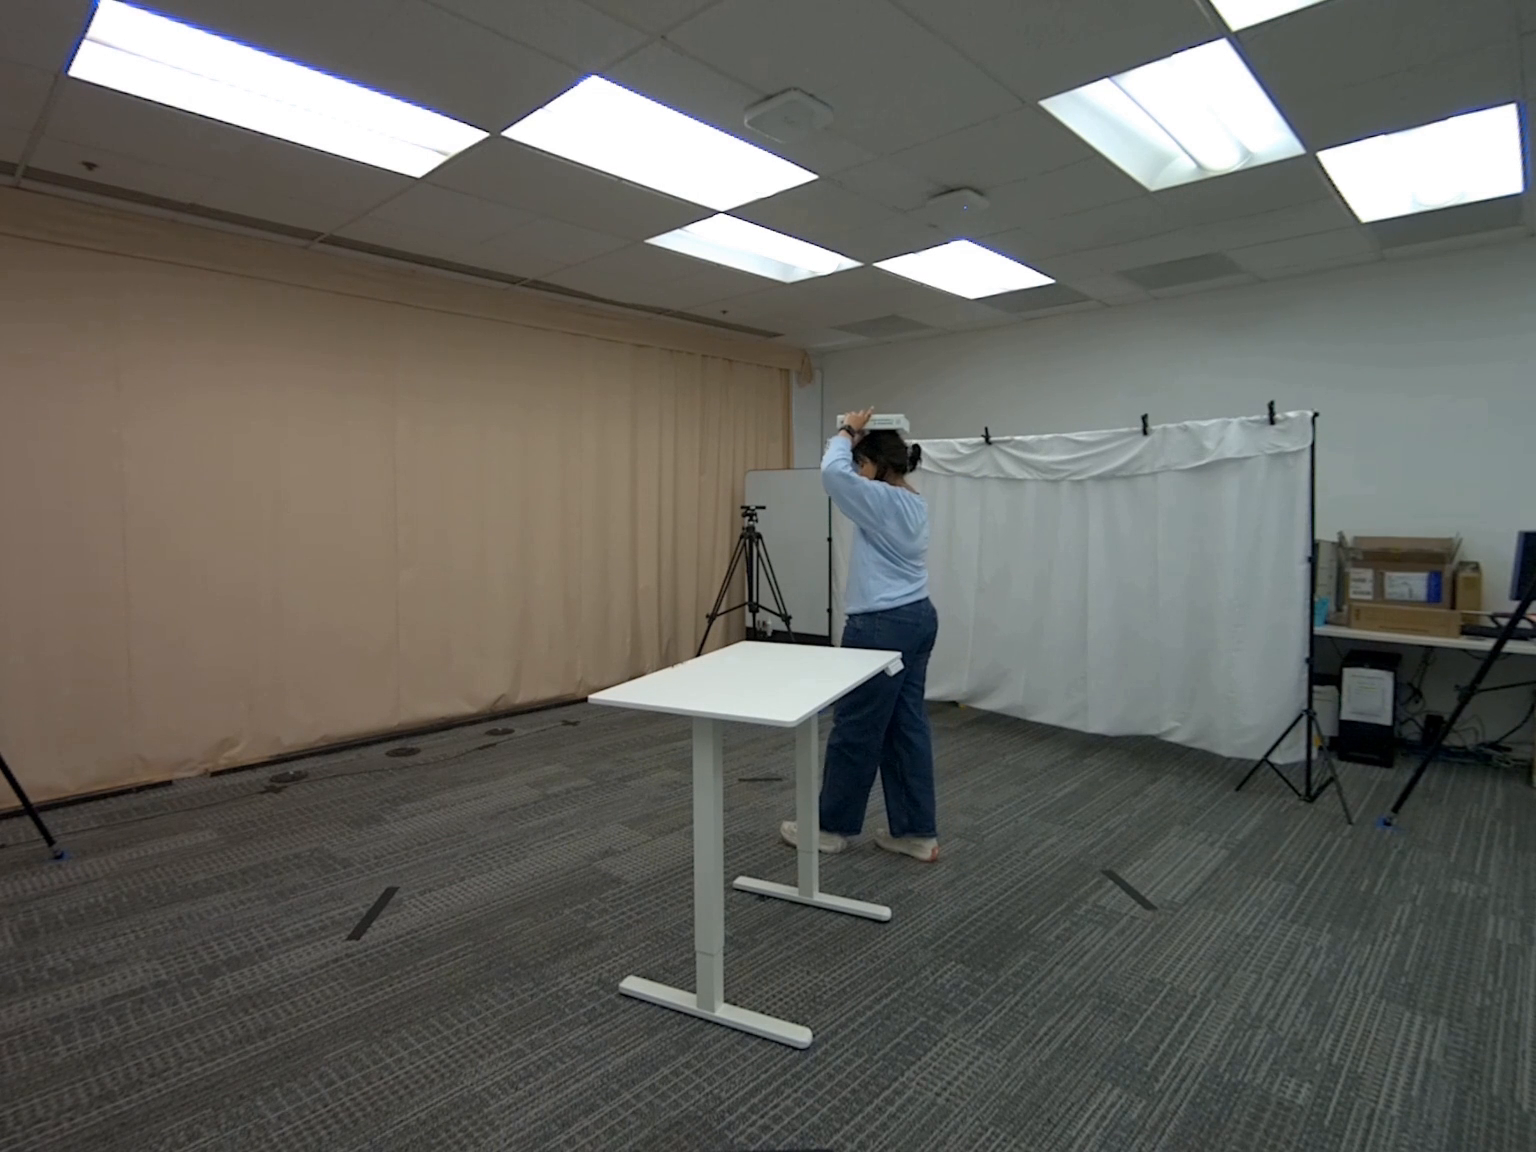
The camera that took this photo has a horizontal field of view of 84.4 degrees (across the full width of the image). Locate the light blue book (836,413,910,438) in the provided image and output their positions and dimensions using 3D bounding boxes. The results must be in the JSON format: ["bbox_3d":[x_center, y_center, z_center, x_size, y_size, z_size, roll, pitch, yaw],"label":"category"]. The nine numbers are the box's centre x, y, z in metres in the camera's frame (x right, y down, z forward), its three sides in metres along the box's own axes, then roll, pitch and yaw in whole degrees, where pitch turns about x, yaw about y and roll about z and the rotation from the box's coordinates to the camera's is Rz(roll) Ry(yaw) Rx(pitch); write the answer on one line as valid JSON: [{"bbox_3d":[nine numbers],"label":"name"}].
[{"bbox_3d":[0.424,-0.608,3.365,0.265,0.059,0.189,3,4,14],"label":"light blue book"}]
